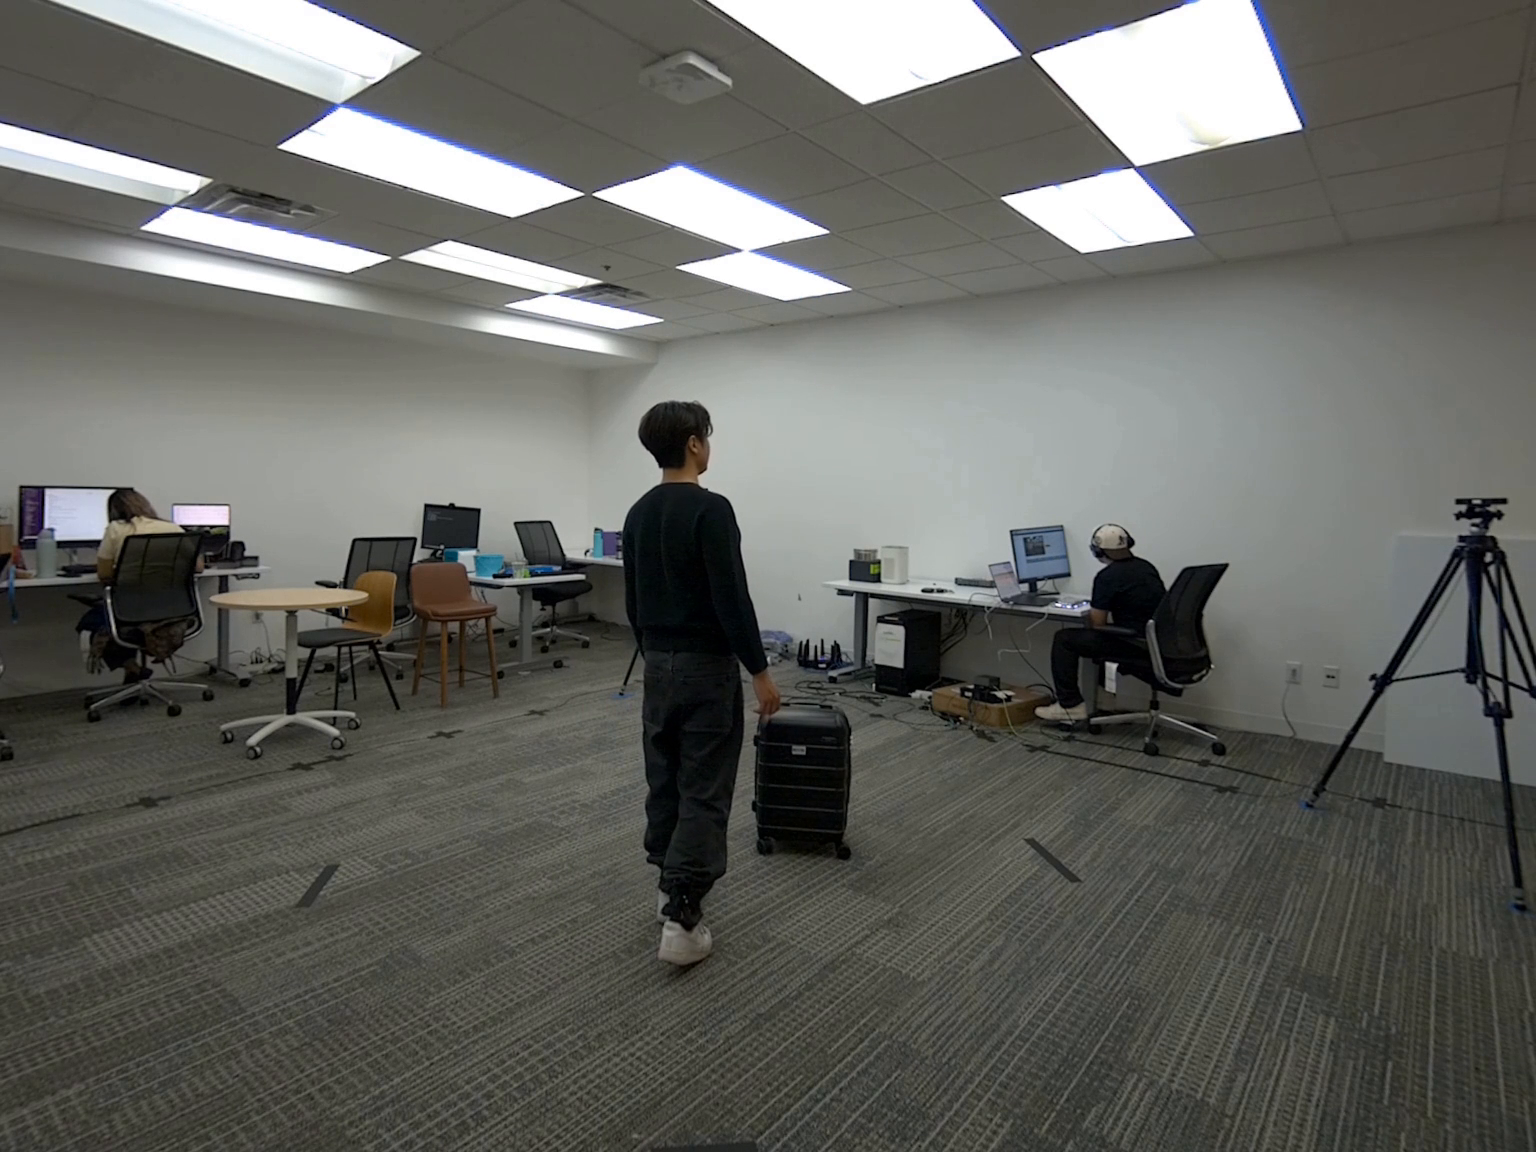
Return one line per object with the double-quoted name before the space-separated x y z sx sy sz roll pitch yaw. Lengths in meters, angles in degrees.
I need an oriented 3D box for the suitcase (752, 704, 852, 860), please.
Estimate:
"suitcase" 0.130 0.775 3.343 0.379 0.547 0.247 3 4 7
